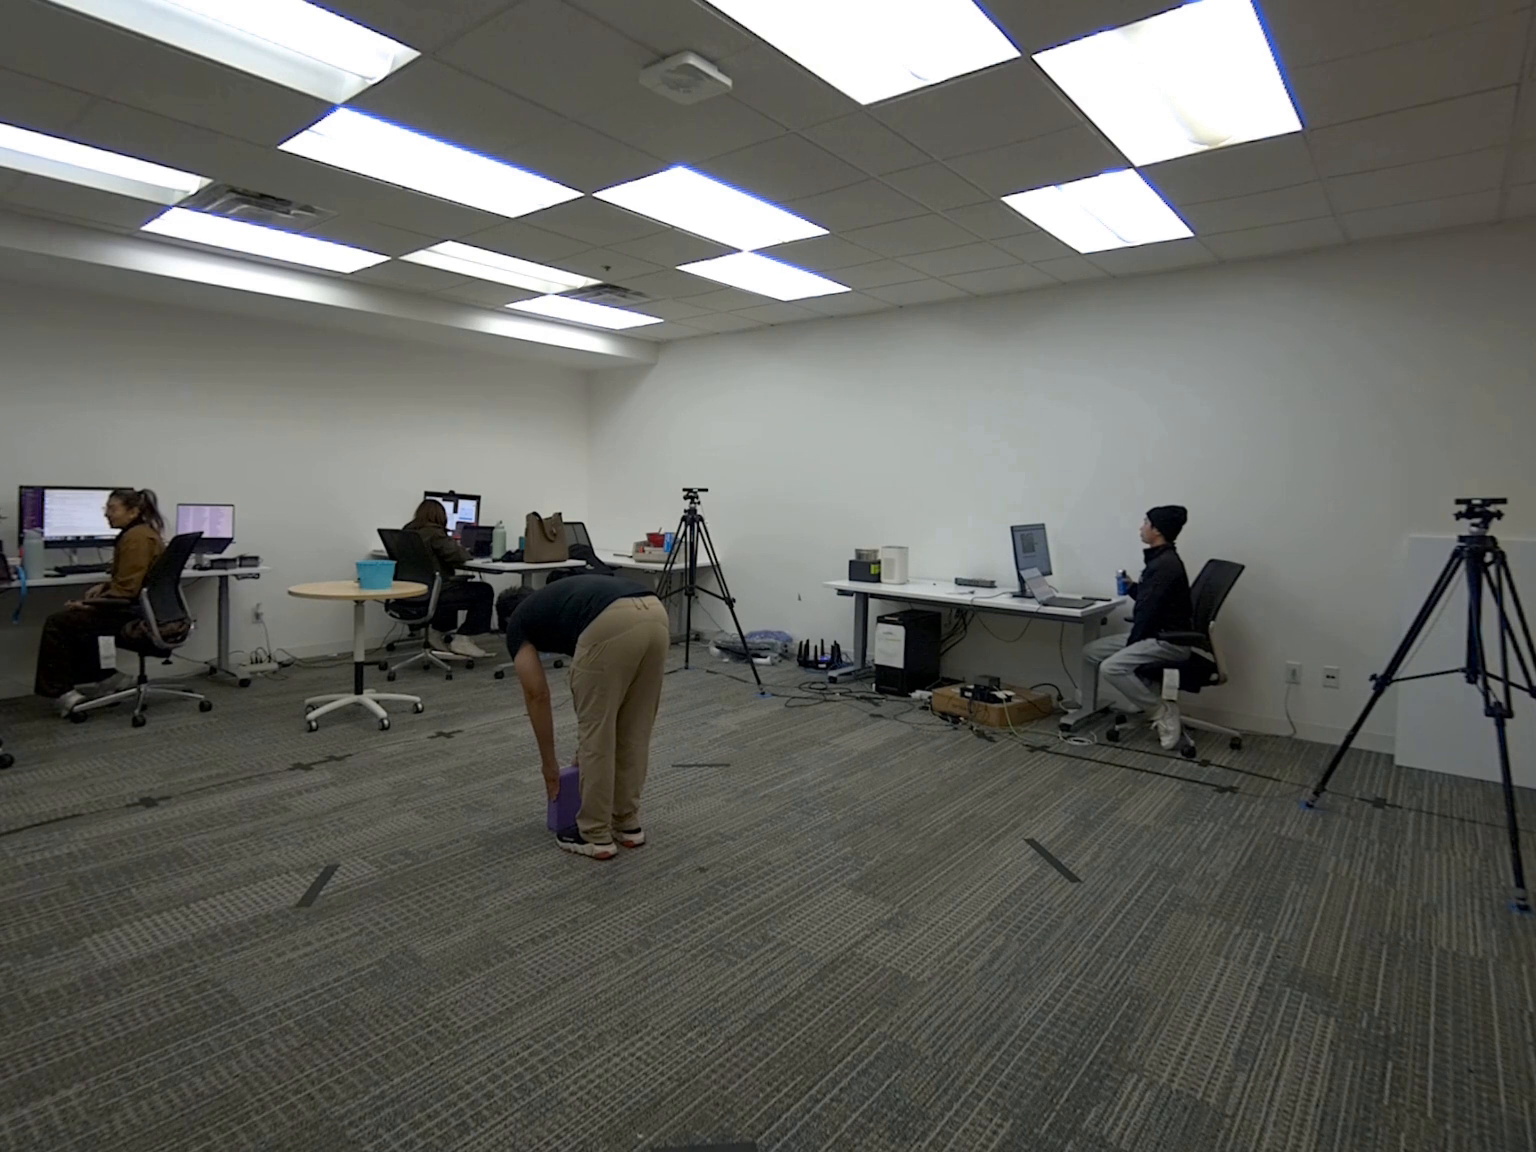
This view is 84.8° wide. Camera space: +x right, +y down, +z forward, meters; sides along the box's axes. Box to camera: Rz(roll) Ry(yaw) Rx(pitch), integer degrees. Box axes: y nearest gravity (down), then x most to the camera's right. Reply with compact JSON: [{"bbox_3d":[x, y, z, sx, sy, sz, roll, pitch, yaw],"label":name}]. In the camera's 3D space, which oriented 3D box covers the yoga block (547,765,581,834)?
[{"bbox_3d":[-0.844,0.914,3.489,0.079,0.229,0.144,0,2,41],"label":"yoga block"}]
